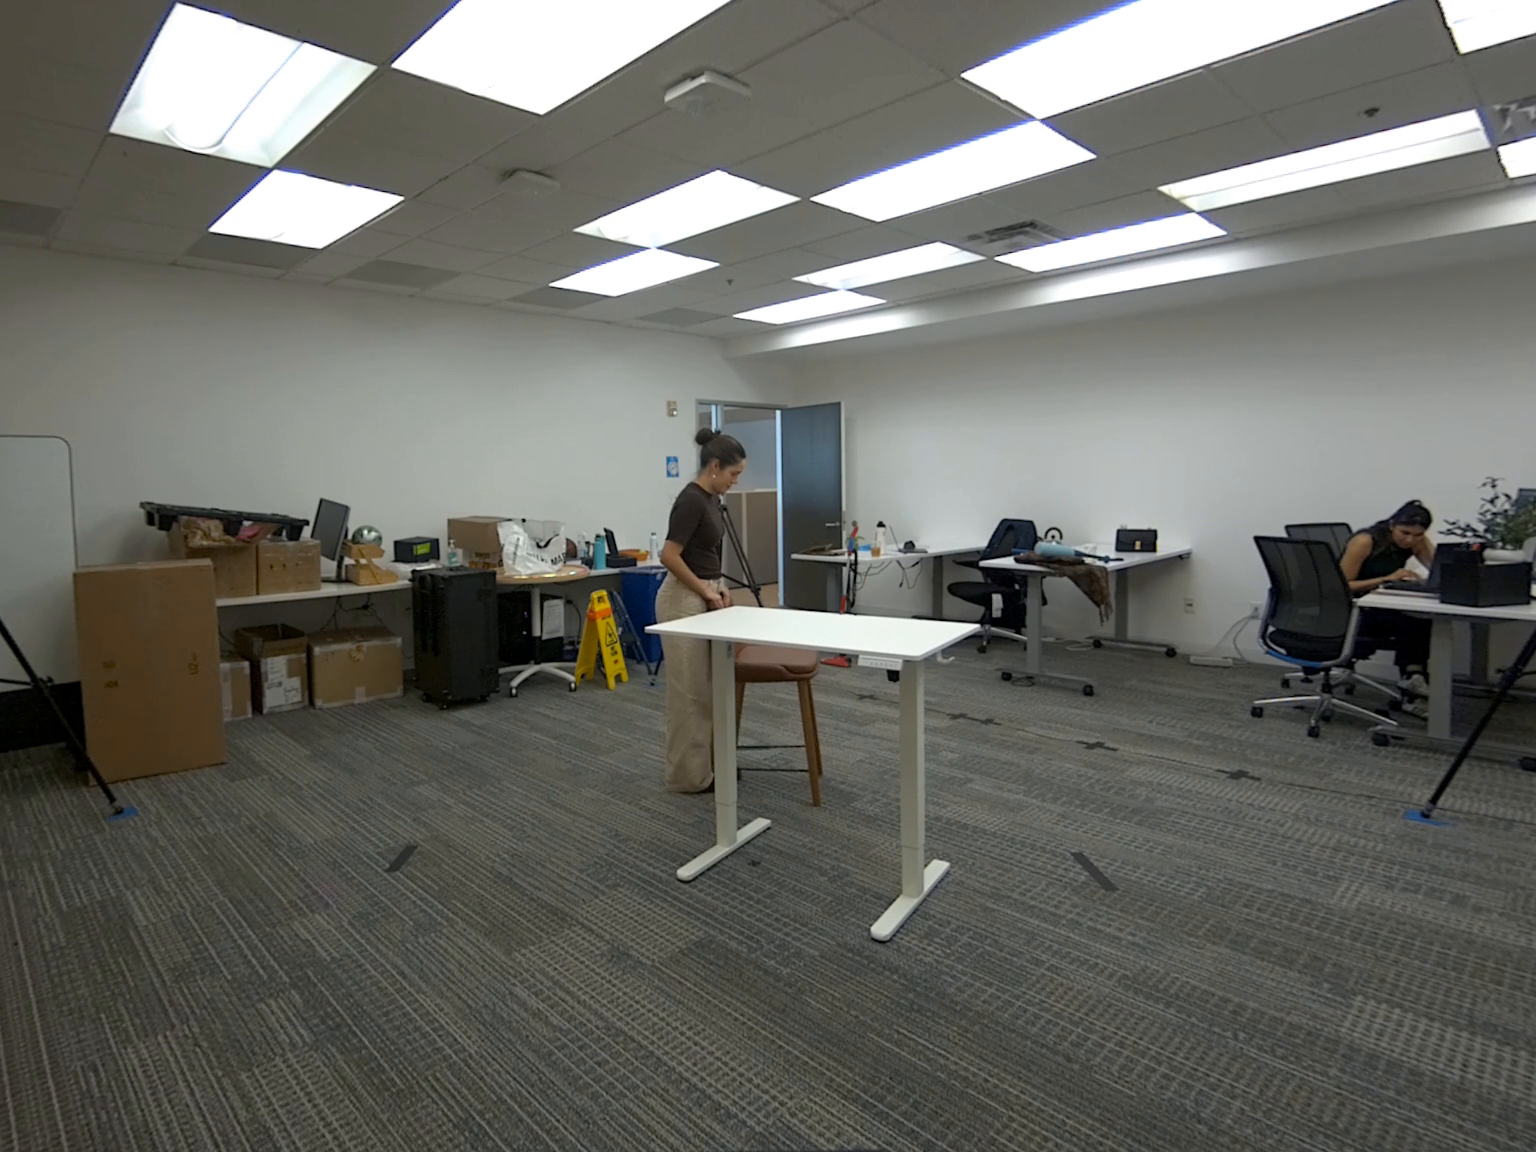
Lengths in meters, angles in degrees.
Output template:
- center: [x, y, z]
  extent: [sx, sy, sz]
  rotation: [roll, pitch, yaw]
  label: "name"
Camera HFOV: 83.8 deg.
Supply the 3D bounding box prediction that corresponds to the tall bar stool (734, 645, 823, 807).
- center: [-0.001, 0.526, 3.842]
  extent: [0.471, 0.888, 0.454]
  rotation: [-2, 3, 7]
  label: "tall bar stool"
